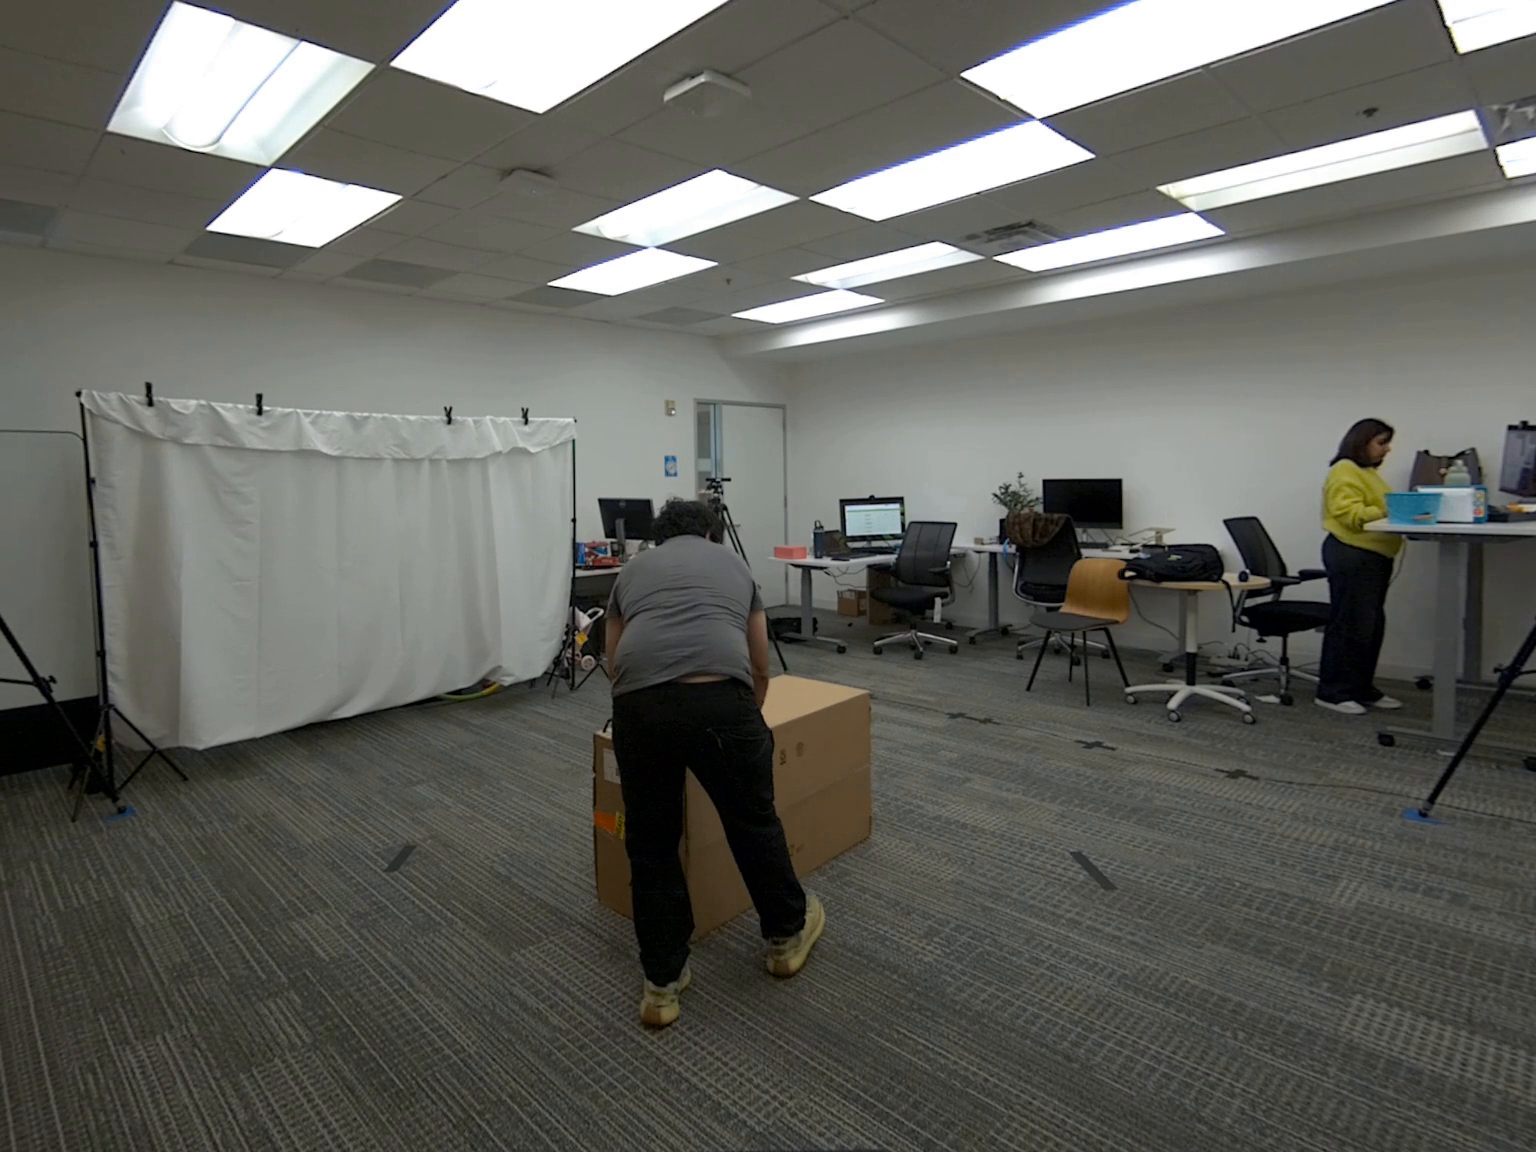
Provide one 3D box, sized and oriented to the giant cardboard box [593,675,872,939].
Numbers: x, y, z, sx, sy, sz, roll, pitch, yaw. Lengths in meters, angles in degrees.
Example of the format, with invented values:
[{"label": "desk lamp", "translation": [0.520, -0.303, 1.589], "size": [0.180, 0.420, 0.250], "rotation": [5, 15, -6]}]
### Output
[{"label": "giant cardboard box", "translation": [-0.090, 0.760, 3.064], "size": [0.439, 0.575, 1.000], "rotation": [3, 7, 40]}]
